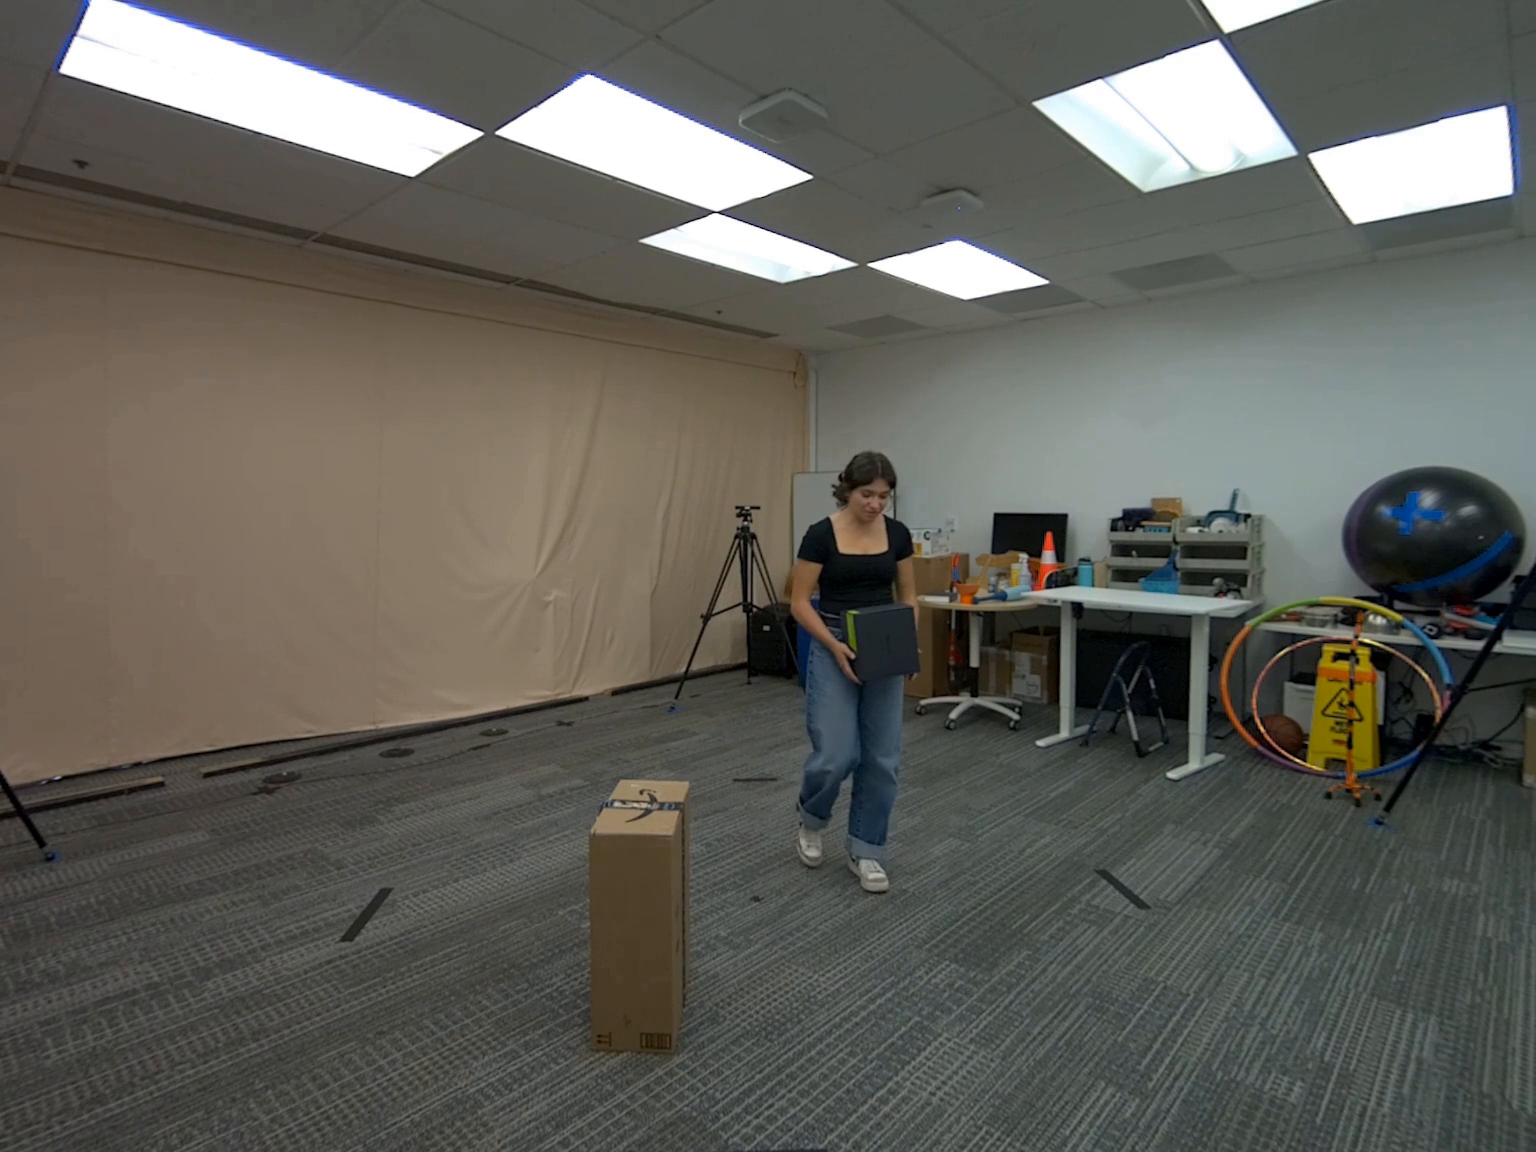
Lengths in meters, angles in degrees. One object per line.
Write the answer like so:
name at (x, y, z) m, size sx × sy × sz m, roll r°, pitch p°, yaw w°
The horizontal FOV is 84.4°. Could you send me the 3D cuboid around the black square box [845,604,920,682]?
black square box at (0.384, 0.215, 2.910) m, size 0.214 × 0.227 × 0.158 m, roll -2°, pitch 4°, yaw -14°
